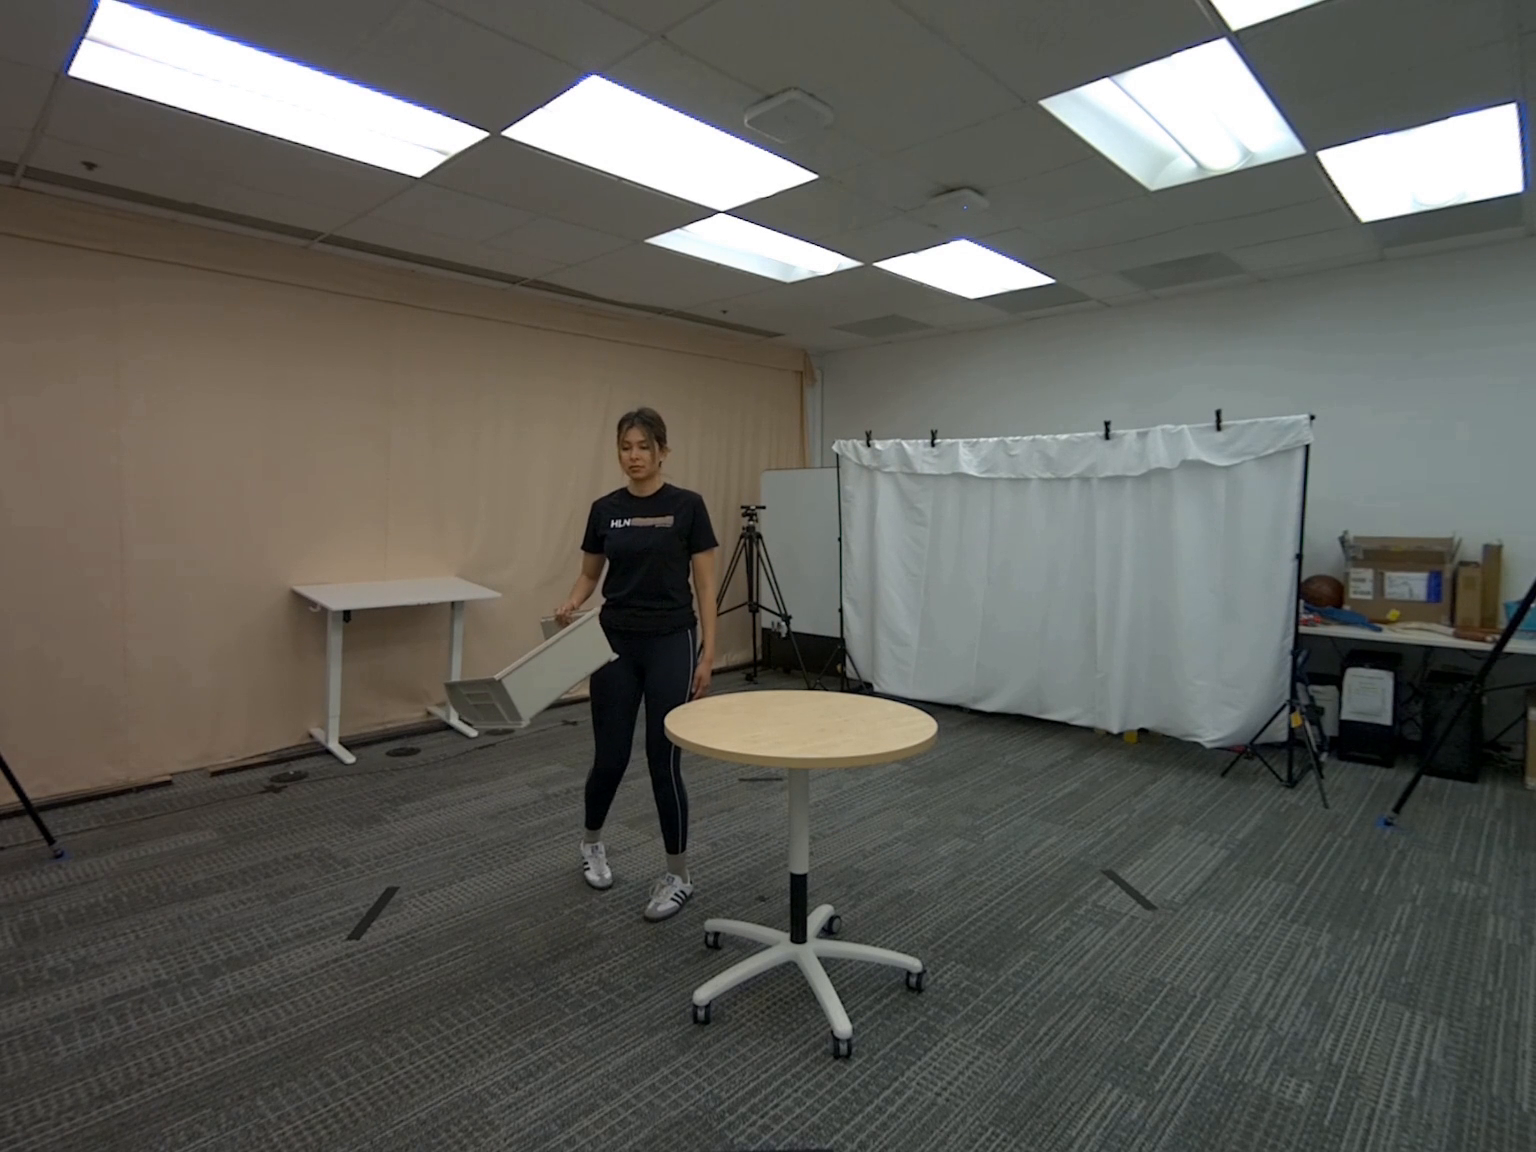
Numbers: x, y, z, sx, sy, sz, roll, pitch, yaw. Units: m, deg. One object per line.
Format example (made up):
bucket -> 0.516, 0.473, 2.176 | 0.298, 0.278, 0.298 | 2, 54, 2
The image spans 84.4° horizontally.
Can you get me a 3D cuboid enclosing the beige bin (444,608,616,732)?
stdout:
beige bin -> -0.760, 0.299, 2.696 | 0.388, 0.186, 0.416 | -9, 21, 44
